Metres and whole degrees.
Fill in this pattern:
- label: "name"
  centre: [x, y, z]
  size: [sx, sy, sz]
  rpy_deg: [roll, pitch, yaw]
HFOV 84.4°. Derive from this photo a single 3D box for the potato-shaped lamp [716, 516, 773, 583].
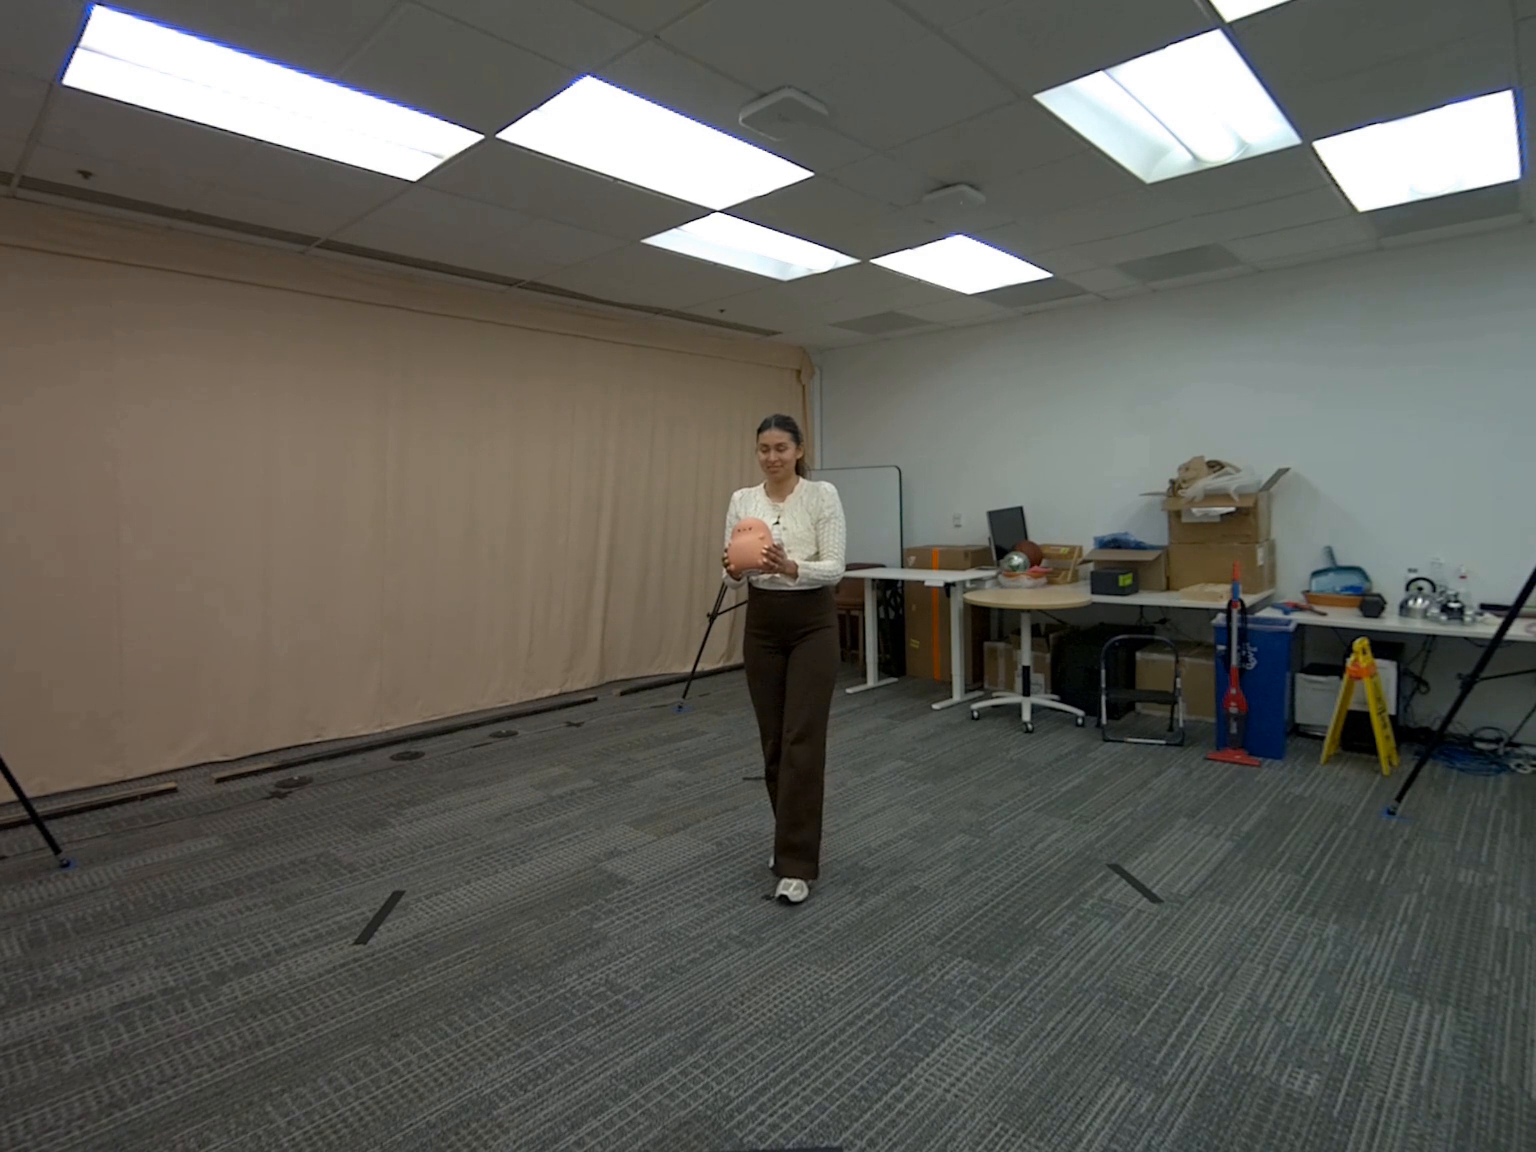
- label: "potato-shaped lamp"
  centre: [-0.052, -0.103, 2.850]
  size: [0.168, 0.200, 0.166]
  rpy_deg: [-13, -14, 20]
